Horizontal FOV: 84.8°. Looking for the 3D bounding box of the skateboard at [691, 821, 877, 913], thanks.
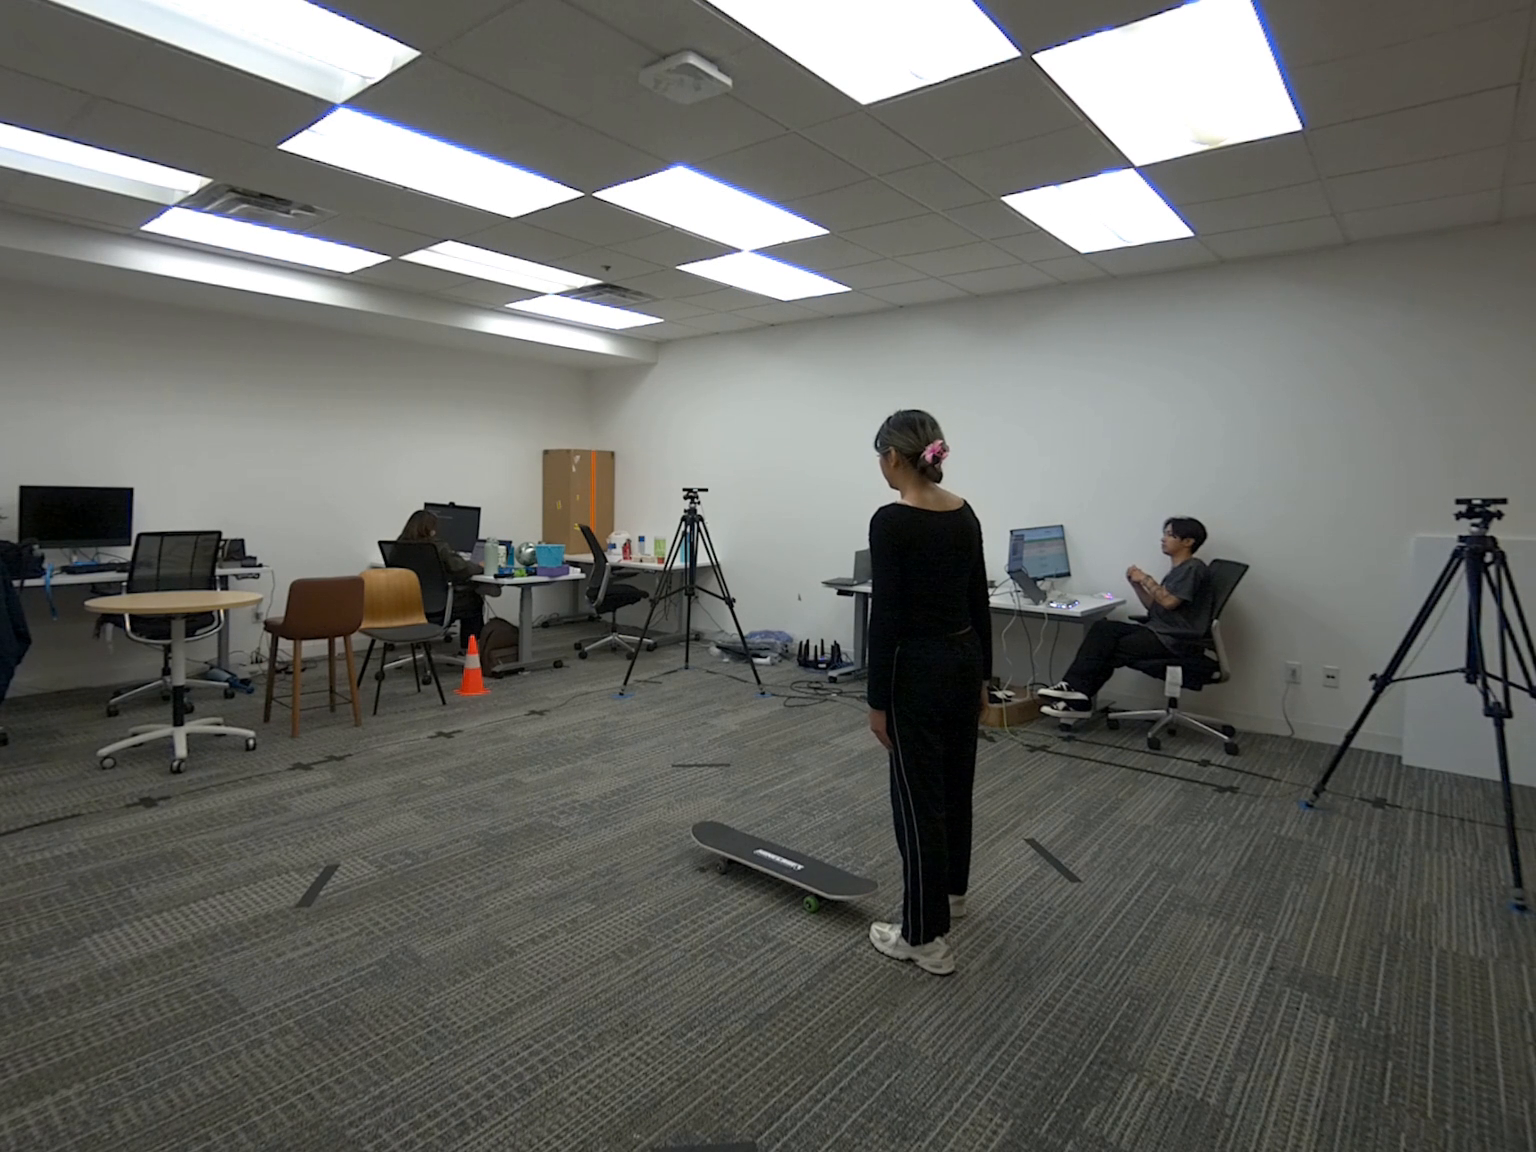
[{"bbox_3d":[0.028,1.030,3.001,0.812,0.110,0.188,6,7,40],"label":"skateboard"}]
